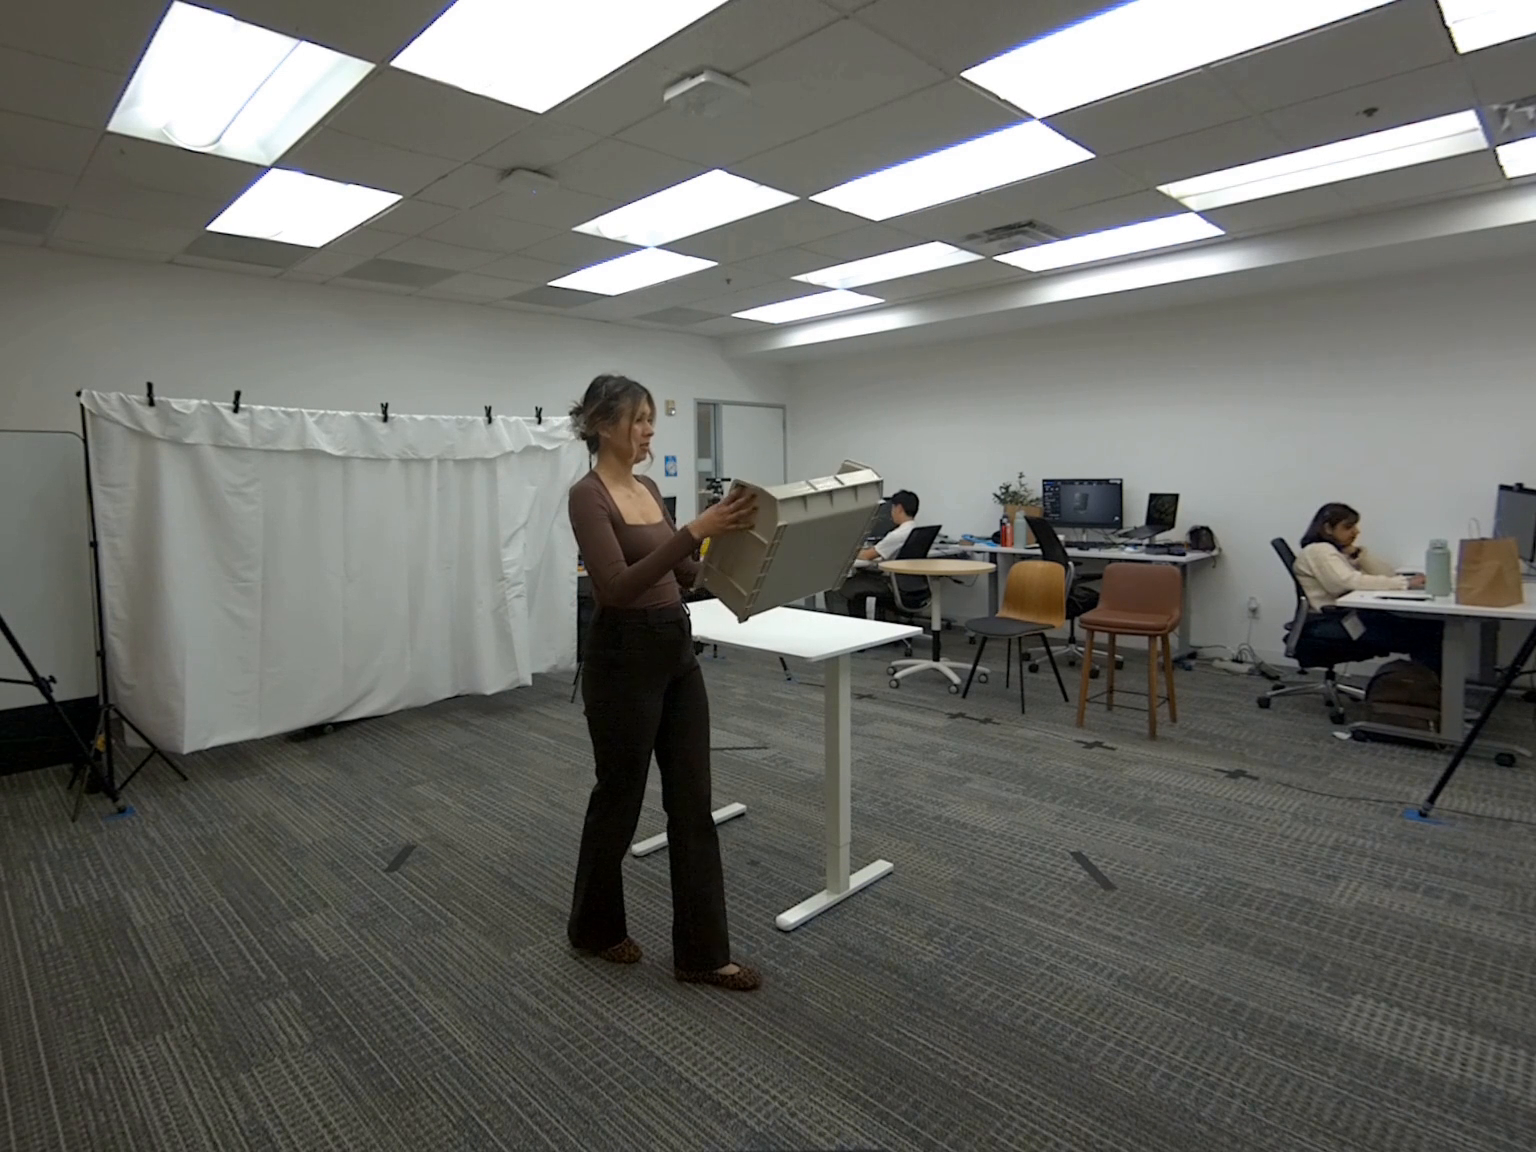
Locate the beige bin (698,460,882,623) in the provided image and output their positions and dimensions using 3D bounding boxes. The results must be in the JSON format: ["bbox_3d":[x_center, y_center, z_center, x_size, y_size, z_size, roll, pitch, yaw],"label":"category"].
[{"bbox_3d":[0.072,-0.112,2.260,0.413,0.372,0.195,-15,50,-42],"label":"beige bin"}]
